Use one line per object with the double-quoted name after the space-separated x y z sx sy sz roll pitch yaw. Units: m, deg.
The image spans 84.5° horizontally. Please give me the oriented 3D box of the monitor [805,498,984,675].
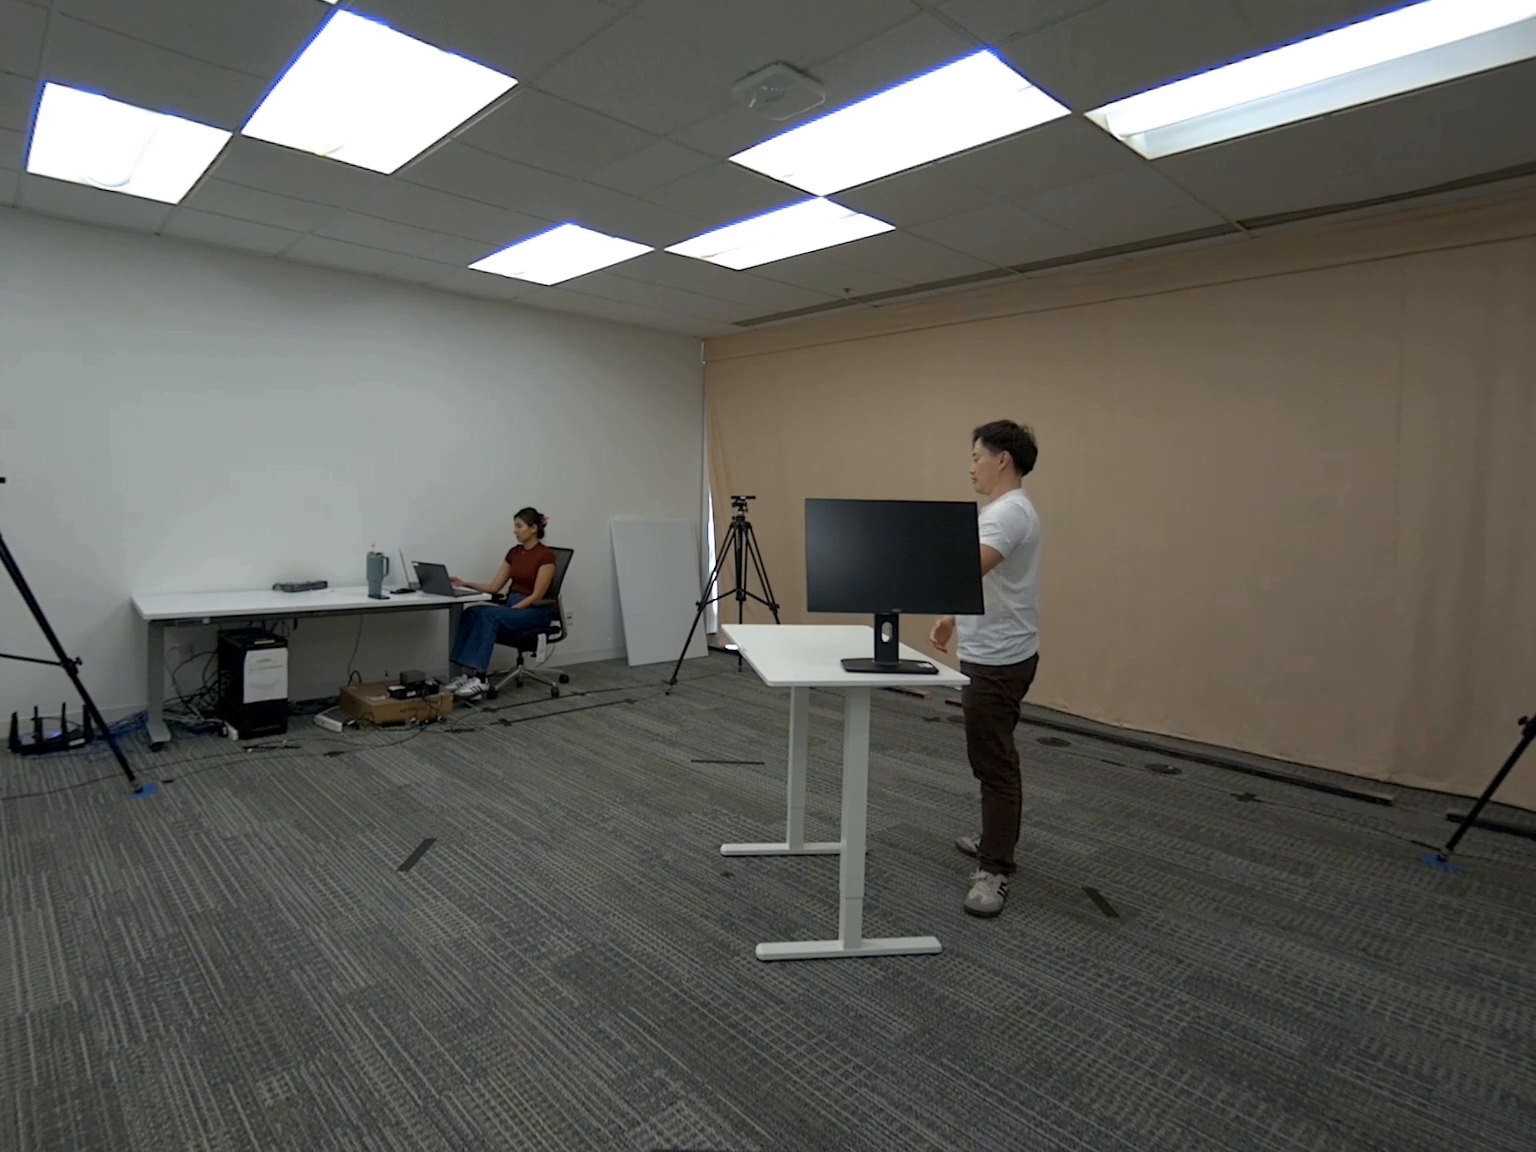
0.370 0.031 2.568 0.537 0.523 0.188 1 0 -4 "monitor"
